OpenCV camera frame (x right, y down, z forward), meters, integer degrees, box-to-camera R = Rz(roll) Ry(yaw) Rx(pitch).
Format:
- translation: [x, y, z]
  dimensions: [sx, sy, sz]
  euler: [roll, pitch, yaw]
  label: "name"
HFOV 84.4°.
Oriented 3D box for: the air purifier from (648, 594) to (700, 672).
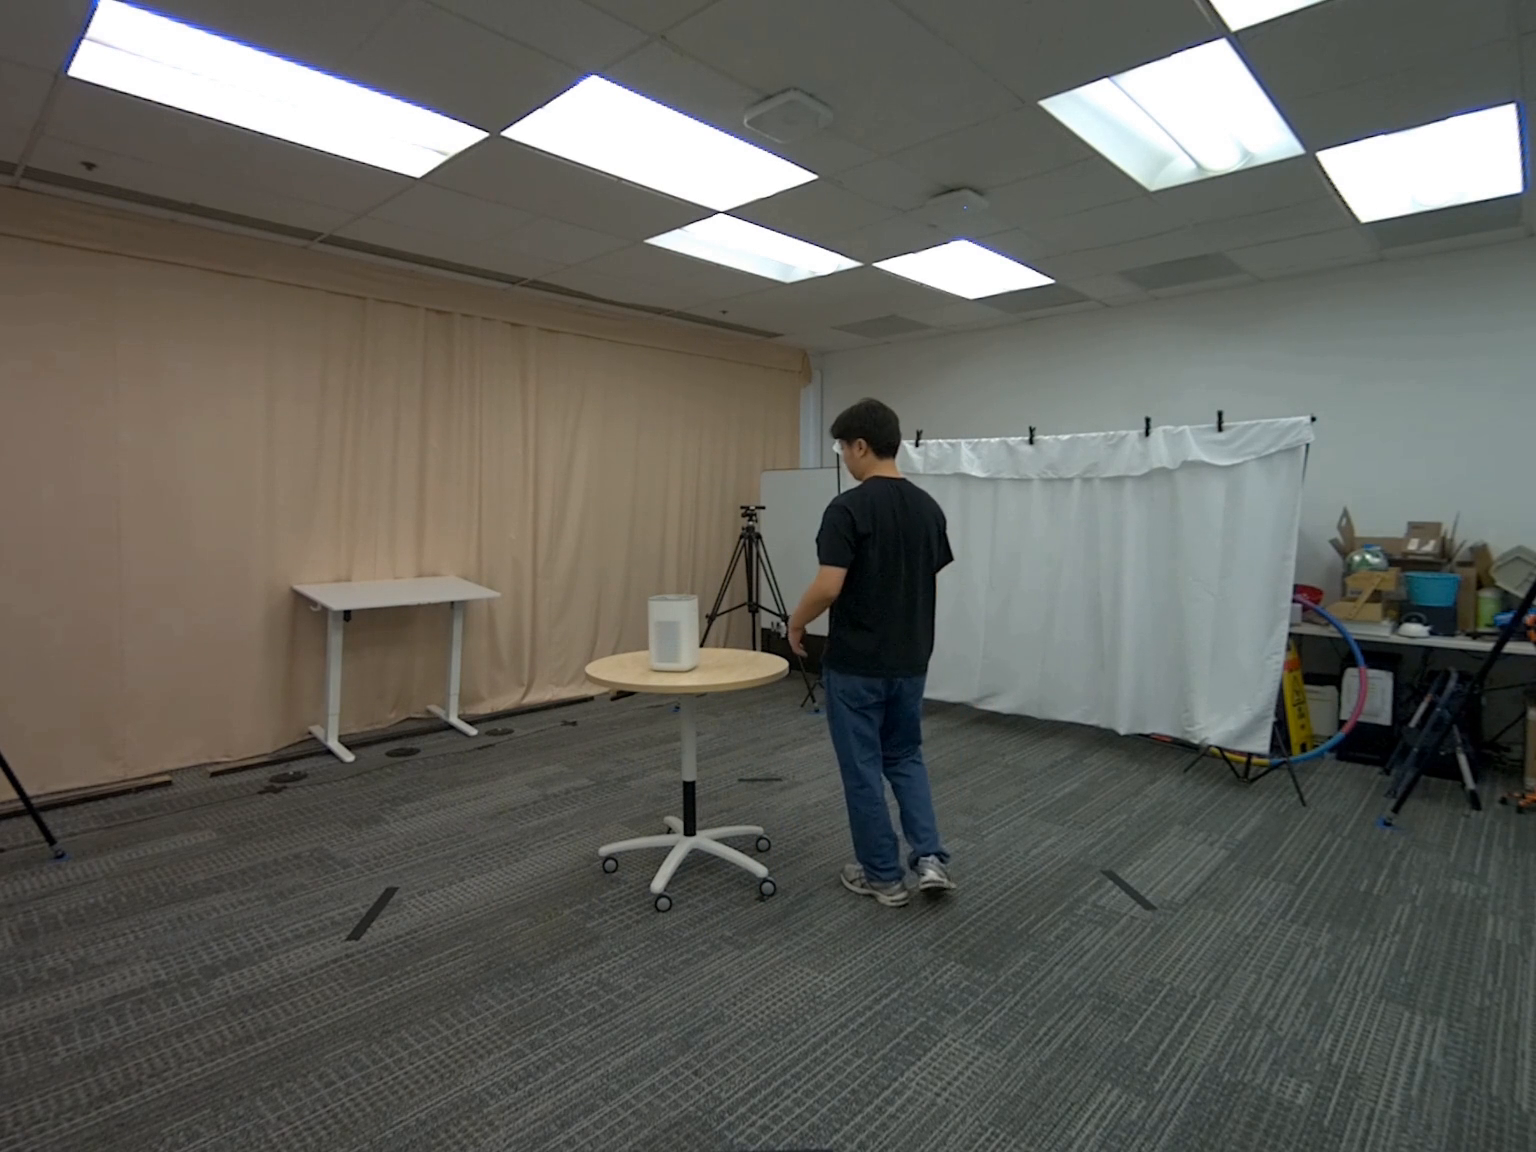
- translation: [-0.348, 0.212, 3.098]
  dimensions: [0.173, 0.265, 0.169]
  euler: [0, 2, 9]
  label: "air purifier"
